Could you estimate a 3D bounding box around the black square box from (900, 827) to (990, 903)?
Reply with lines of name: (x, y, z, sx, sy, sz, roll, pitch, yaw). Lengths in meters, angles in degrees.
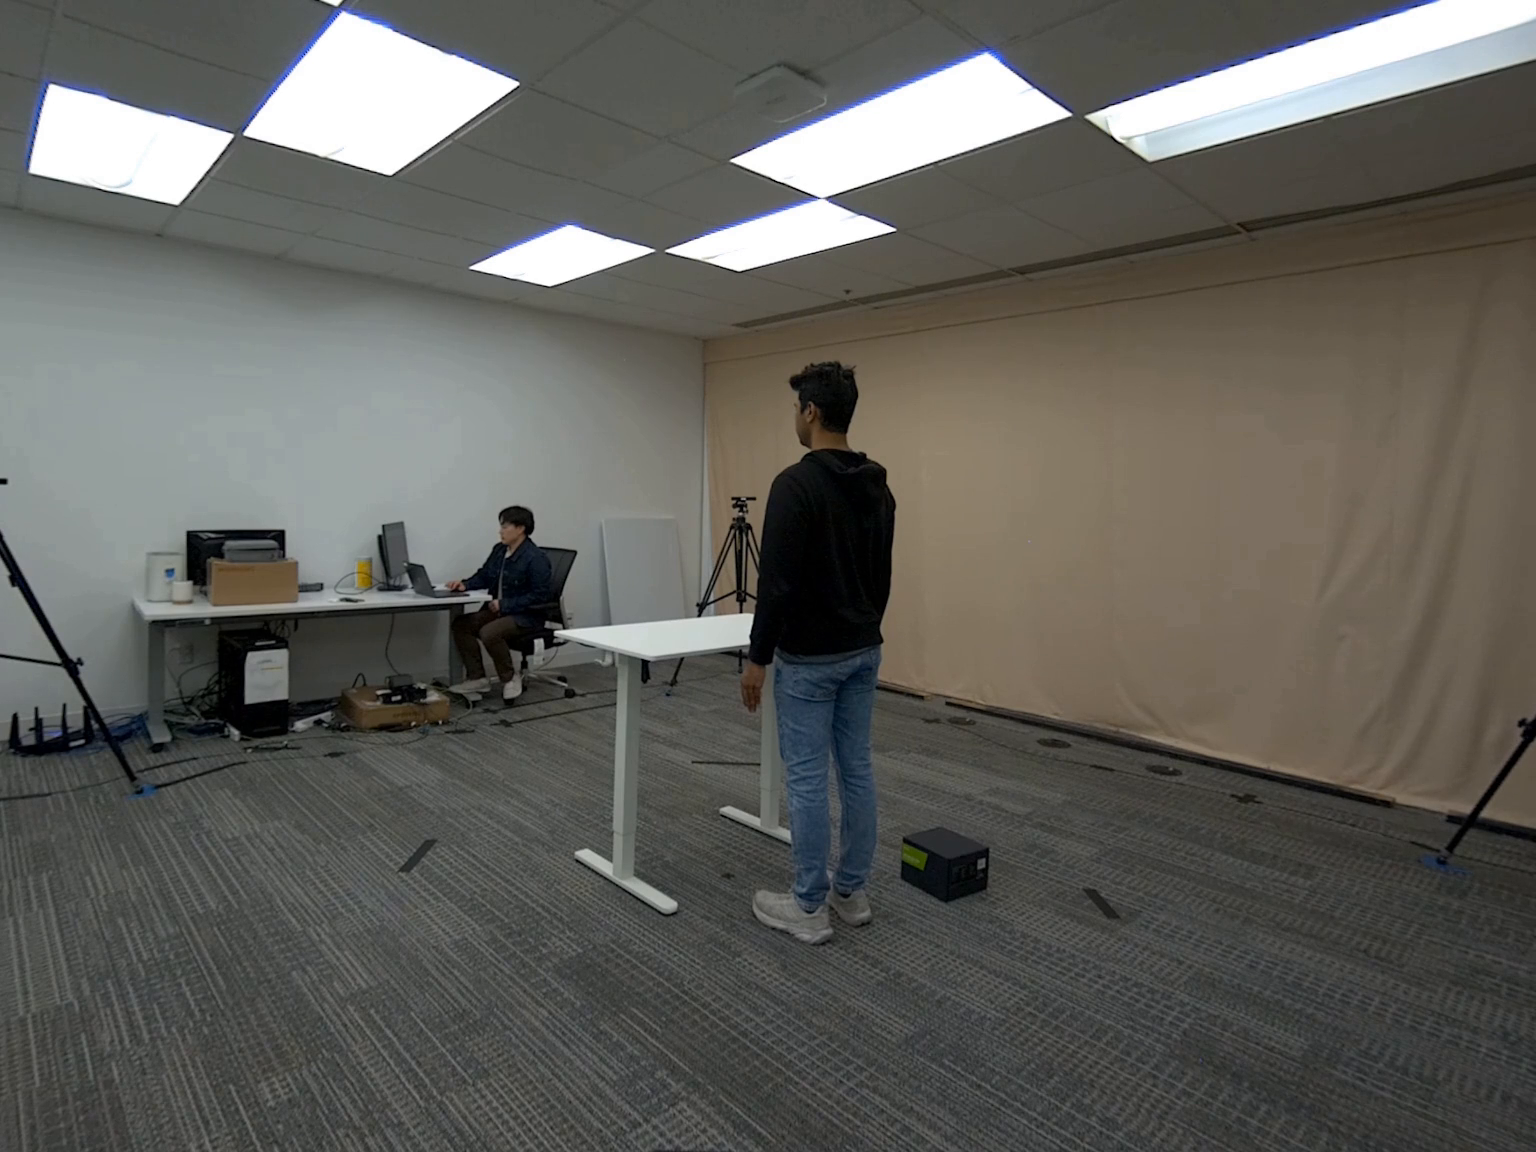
black square box: (0.636, 1.045, 3.081, 0.212, 0.155, 0.233, -1, 5, -36)
